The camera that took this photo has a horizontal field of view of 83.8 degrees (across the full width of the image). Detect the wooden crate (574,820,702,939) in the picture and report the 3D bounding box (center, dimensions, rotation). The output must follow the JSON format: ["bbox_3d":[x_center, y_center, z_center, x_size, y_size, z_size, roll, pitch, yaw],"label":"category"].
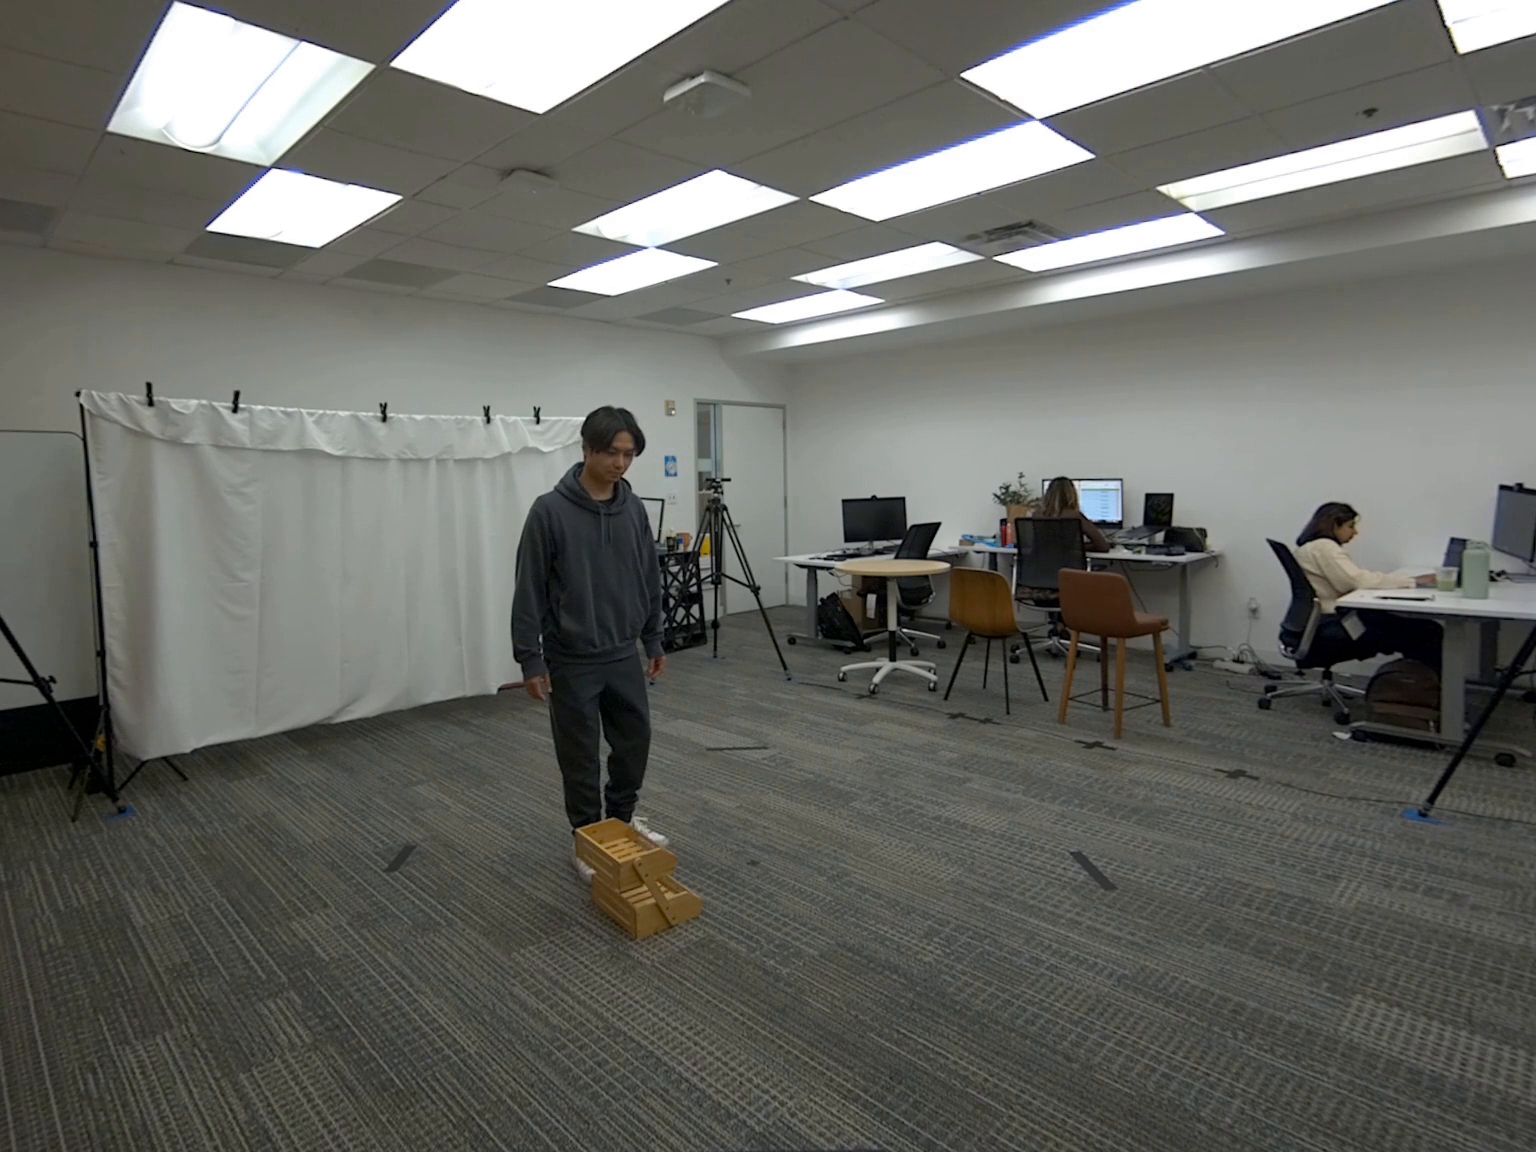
[{"bbox_3d":[-0.412,0.953,2.774,0.294,0.272,0.334,-7,8,-37],"label":"wooden crate"}]
